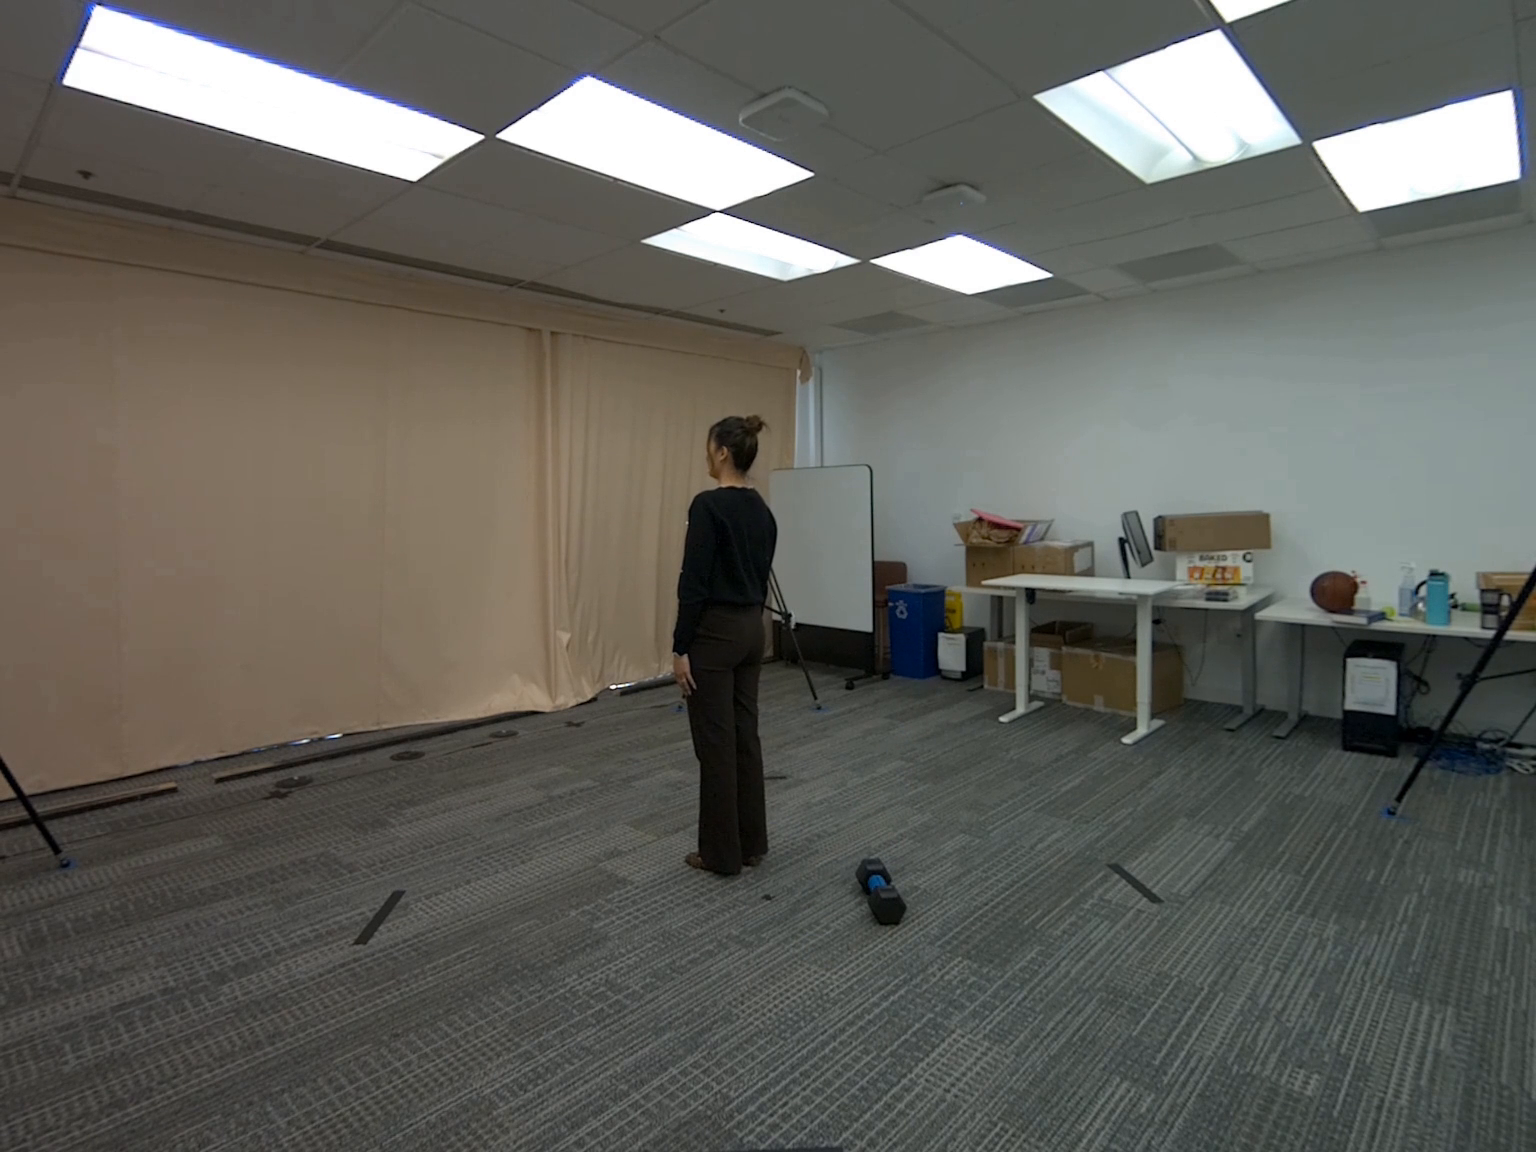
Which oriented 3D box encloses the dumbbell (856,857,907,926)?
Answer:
[{"bbox_3d":[0.392,1.086,2.908,0.108,0.123,0.295,27,2,-6],"label":"dumbbell"}]
